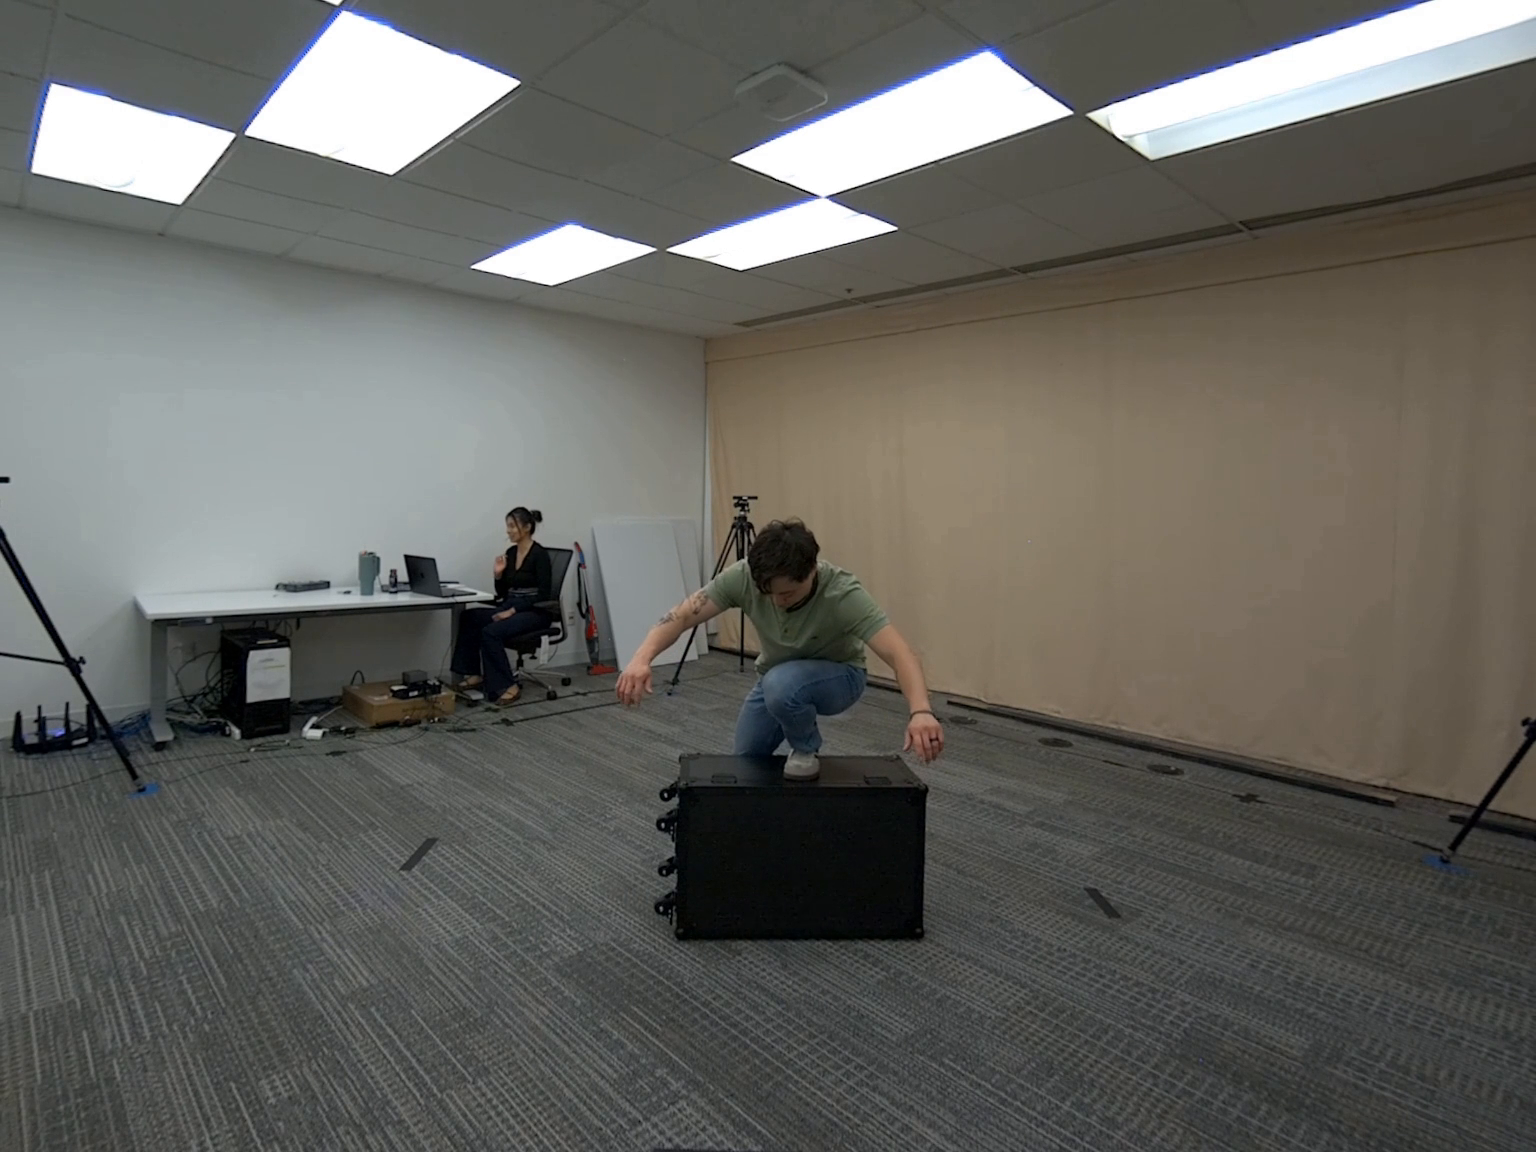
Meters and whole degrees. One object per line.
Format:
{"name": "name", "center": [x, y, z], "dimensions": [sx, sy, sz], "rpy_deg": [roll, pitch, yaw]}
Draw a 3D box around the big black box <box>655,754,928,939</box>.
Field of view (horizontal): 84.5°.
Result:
{"name": "big black box", "center": [0.056, 0.879, 2.821], "dimensions": [0.858, 0.520, 0.398], "rpy_deg": [1, 2, -4]}
